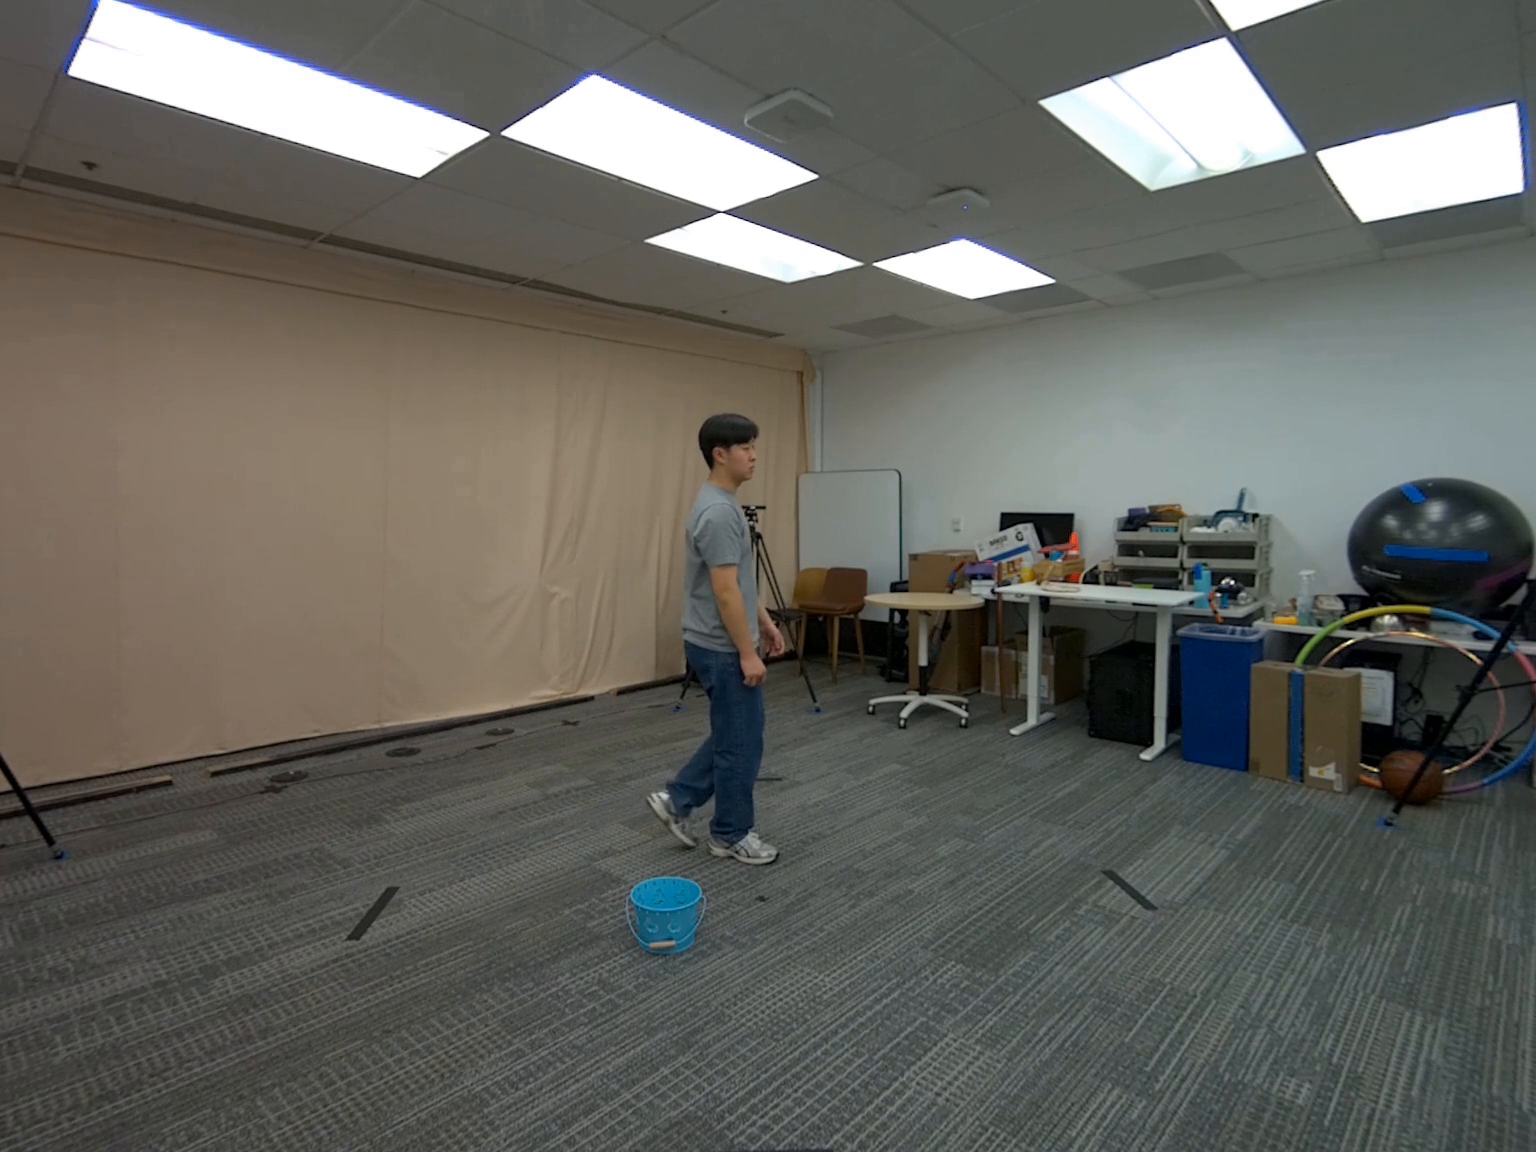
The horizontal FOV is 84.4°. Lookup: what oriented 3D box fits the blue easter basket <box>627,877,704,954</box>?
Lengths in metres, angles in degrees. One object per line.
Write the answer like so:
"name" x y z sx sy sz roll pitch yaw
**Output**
"blue easter basket" -0.327 1.088 2.702 0.243 0.155 0.244 0 4 -2
